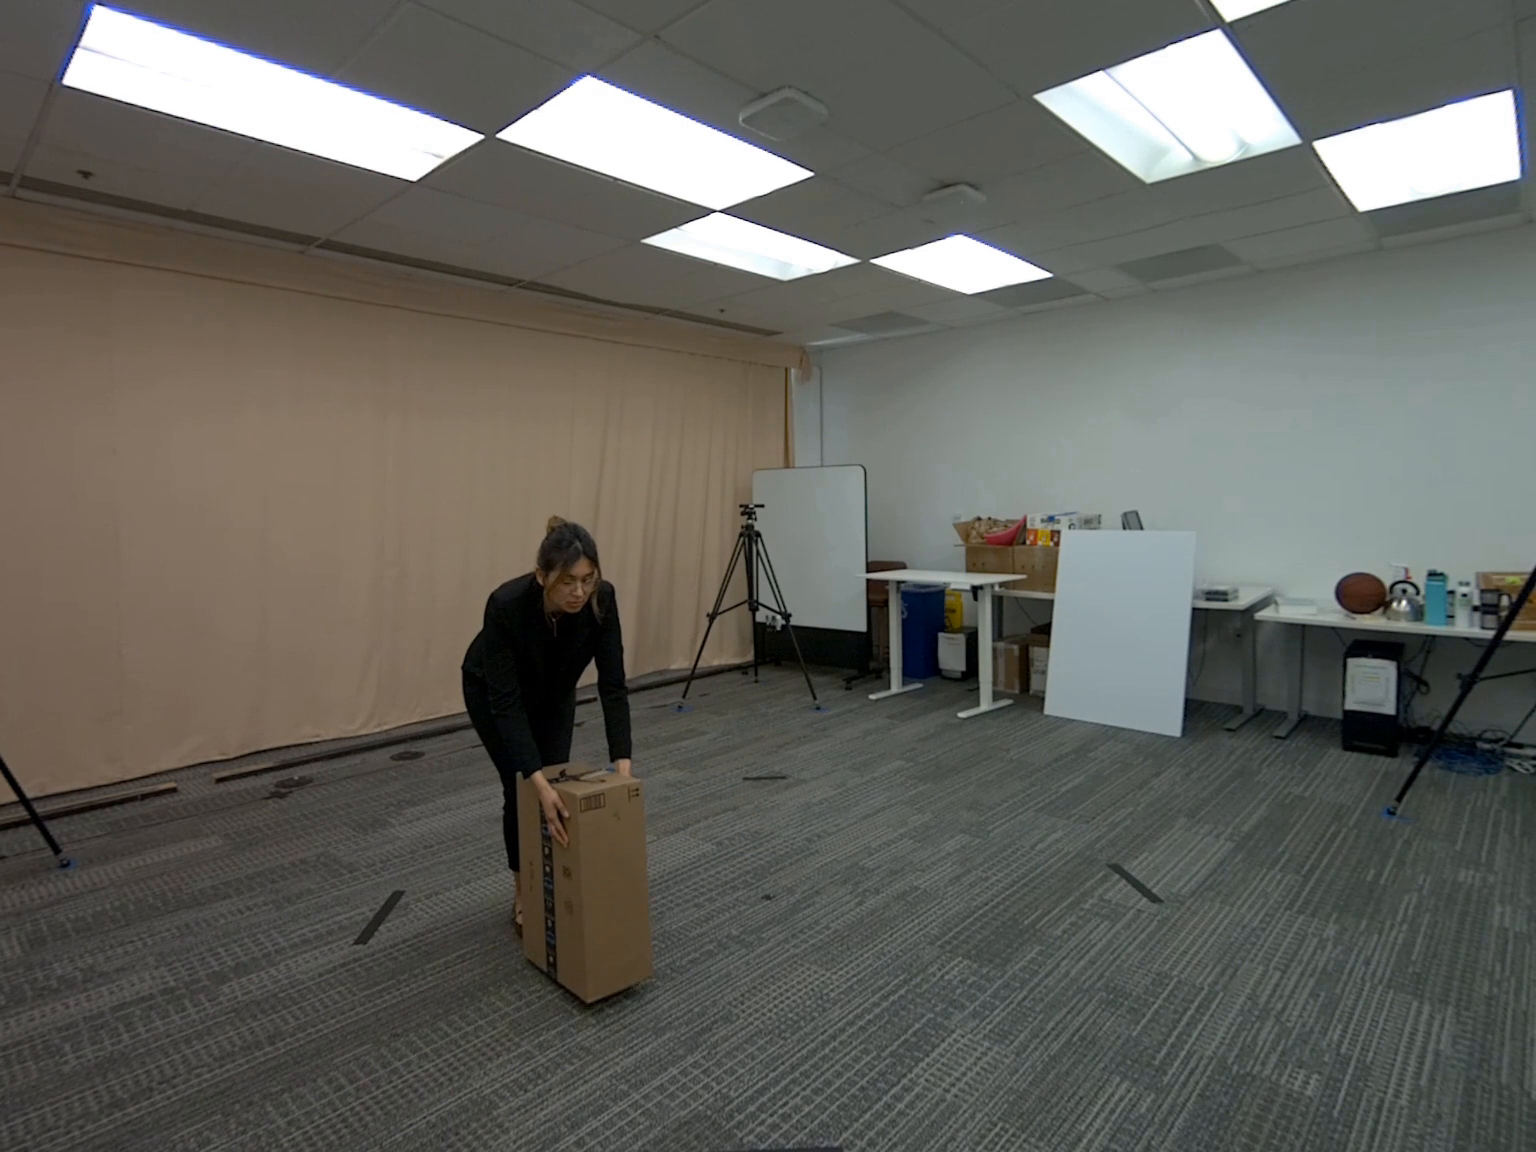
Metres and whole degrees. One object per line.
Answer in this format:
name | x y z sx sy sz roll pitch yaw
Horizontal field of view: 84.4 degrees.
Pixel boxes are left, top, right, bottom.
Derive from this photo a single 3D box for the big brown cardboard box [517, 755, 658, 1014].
big brown cardboard box | -0.554 0.880 2.523 0.226 0.589 0.430 -2 -1 -38
